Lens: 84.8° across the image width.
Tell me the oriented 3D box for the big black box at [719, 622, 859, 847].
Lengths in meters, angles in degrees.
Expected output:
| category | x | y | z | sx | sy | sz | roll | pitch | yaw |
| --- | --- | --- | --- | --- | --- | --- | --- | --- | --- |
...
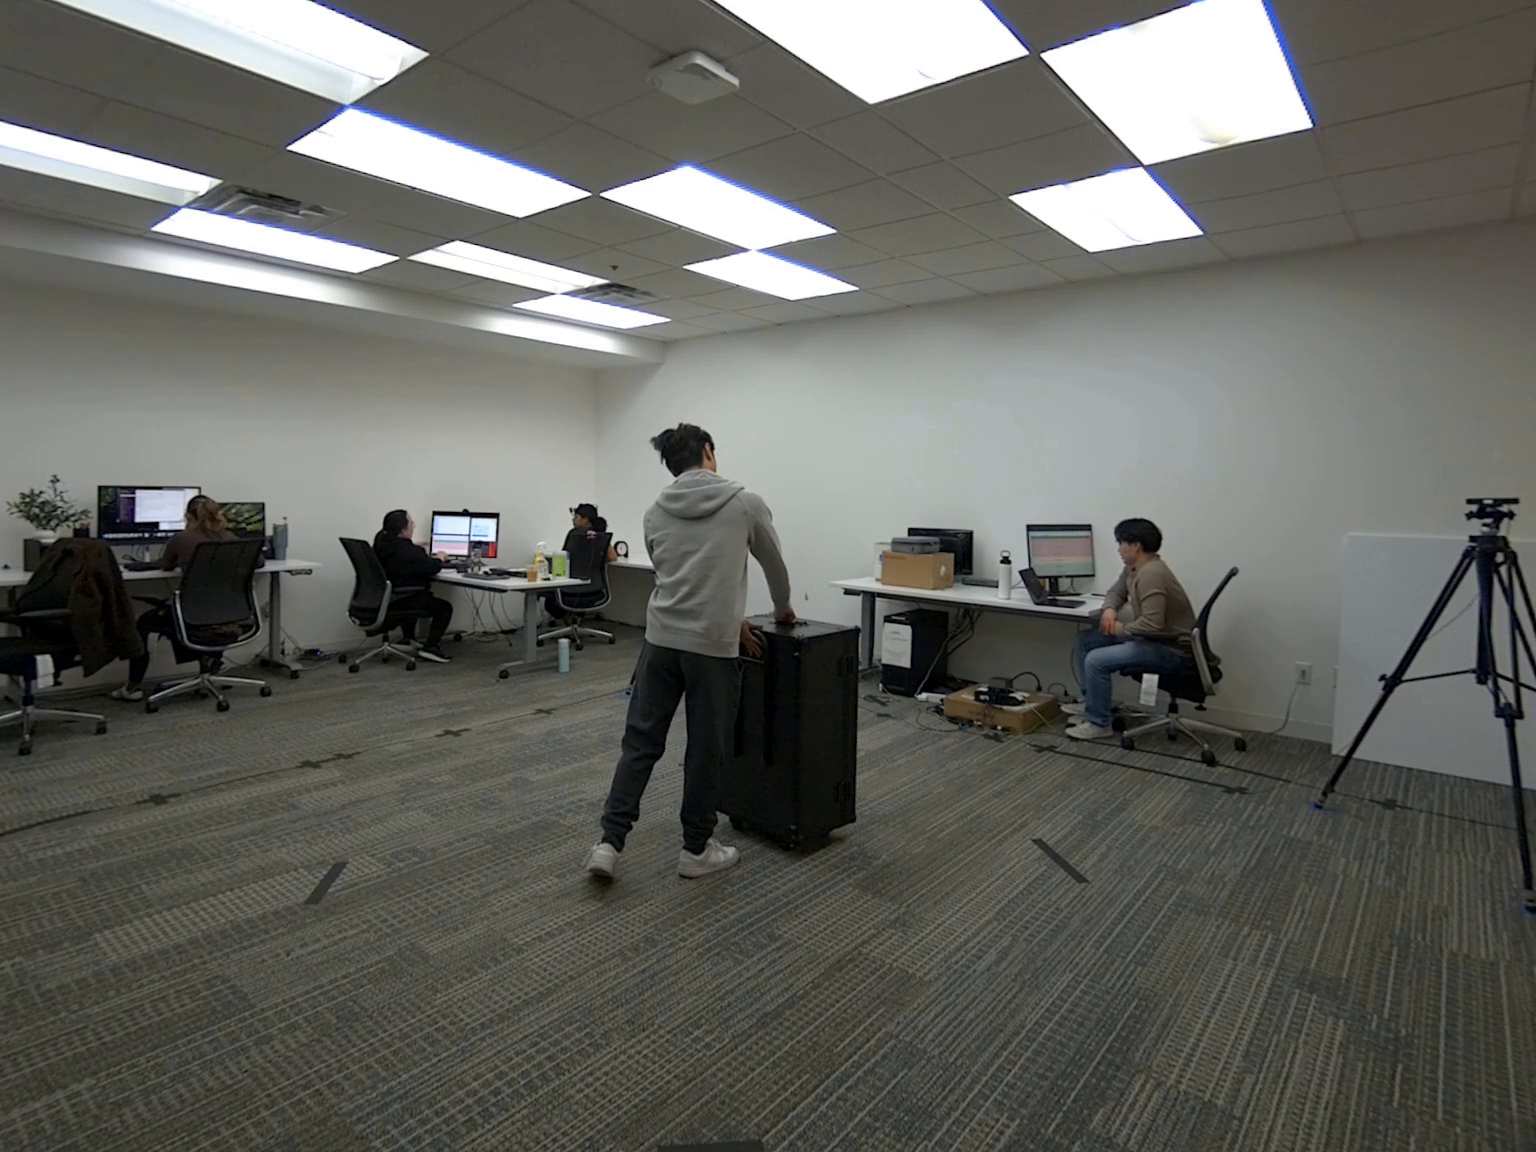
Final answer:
| category | x | y | z | sx | sy | sz | roll | pitch | yaw |
| --- | --- | --- | --- | --- | --- | --- | --- | --- | --- |
| big black box | 0.054 | 0.618 | 3.426 | 0.539 | 0.858 | 0.384 | 5 | 6 | 45 |
